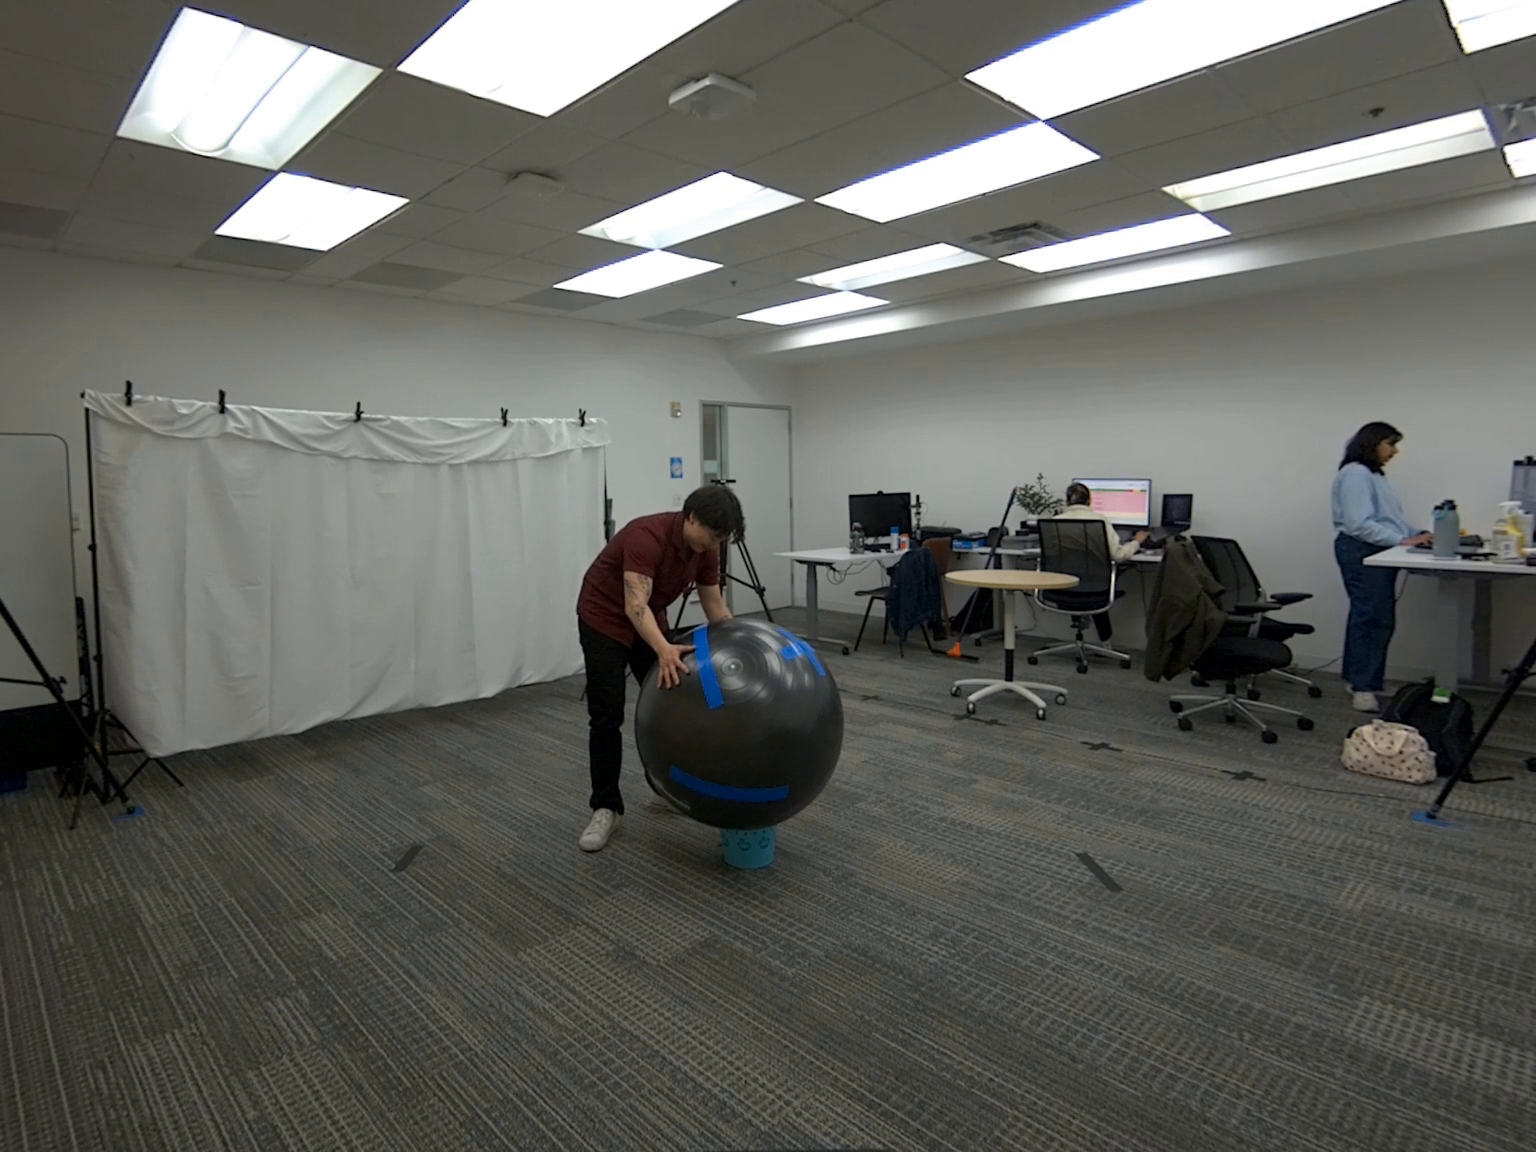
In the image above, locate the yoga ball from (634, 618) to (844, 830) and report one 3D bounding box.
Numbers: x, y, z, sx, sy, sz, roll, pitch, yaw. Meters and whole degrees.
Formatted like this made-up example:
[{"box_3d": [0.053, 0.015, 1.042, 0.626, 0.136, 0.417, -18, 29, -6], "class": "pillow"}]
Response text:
[{"box_3d": [-0.102, 0.543, 3.116, 0.757, 0.755, 0.762, -1, 5, -2], "class": "yoga ball"}]
